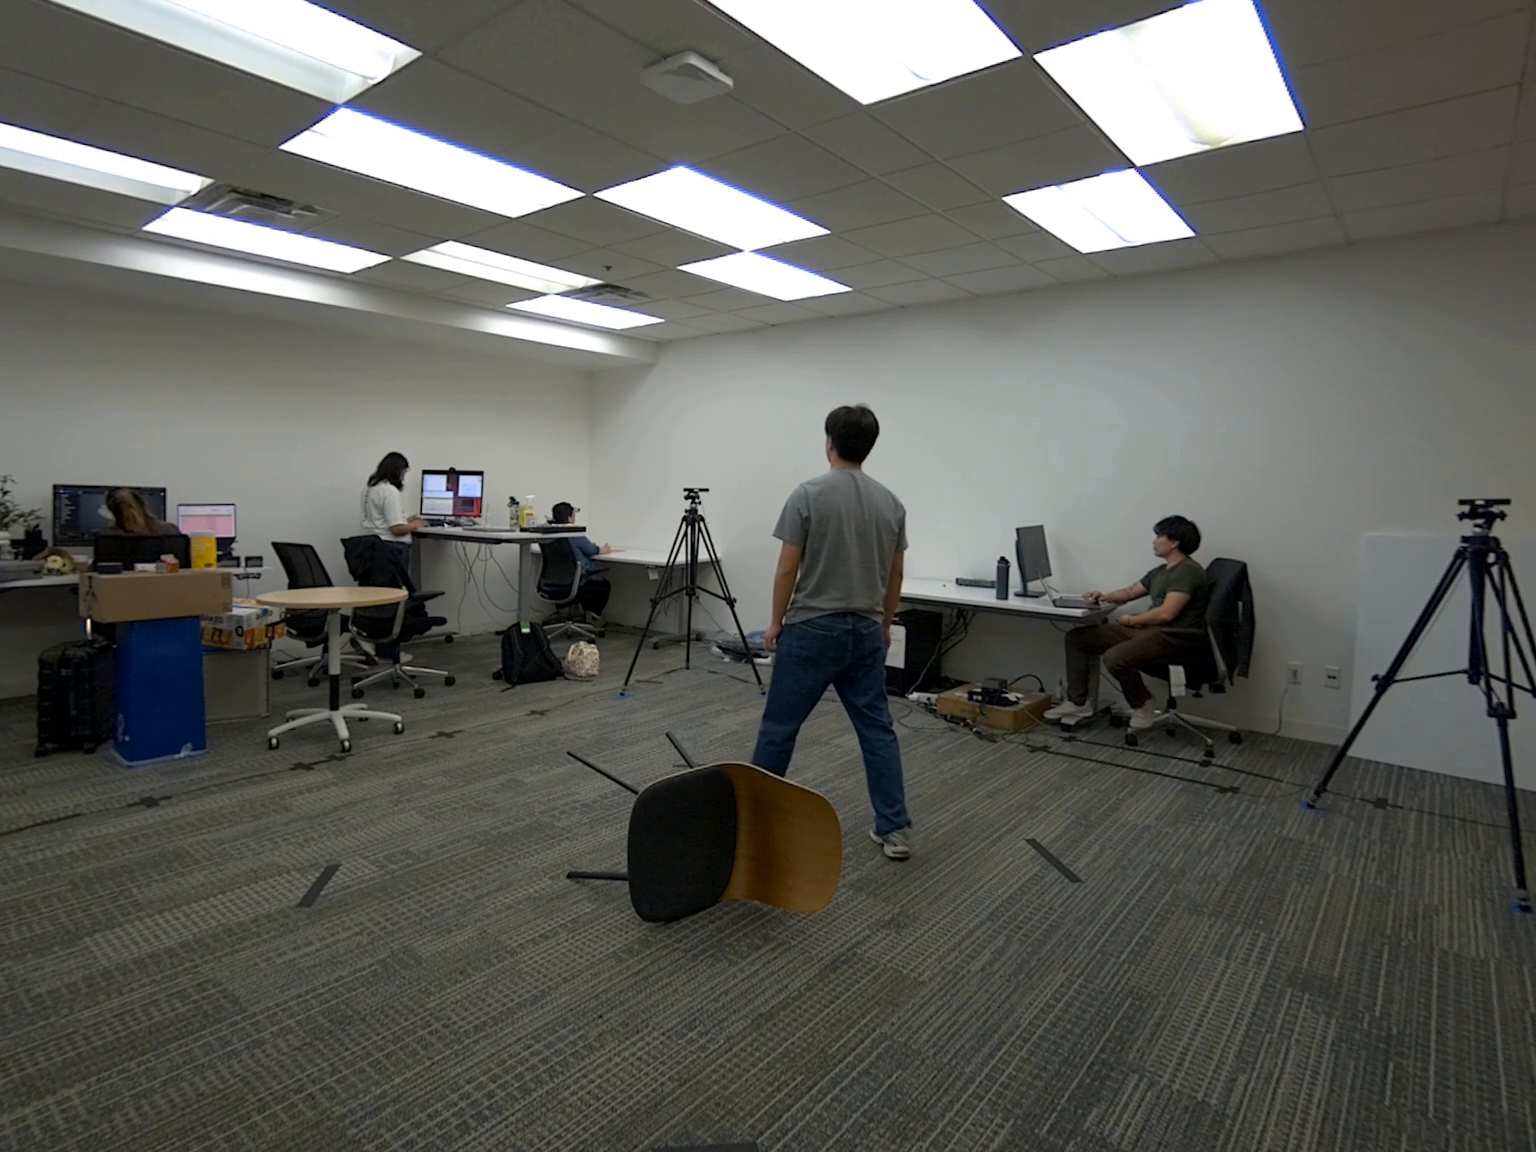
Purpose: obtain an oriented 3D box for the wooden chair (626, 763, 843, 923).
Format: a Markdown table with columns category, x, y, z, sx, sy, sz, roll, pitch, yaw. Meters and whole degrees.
| category | x | y | z | sx | sy | sz | roll | pitch | yaw |
| --- | --- | --- | --- | --- | --- | --- | --- | --- | --- |
| wooden chair | -0.273 | 0.865 | 2.831 | 0.907 | 0.477 | 0.507 | 5 | 6 | 43 |
